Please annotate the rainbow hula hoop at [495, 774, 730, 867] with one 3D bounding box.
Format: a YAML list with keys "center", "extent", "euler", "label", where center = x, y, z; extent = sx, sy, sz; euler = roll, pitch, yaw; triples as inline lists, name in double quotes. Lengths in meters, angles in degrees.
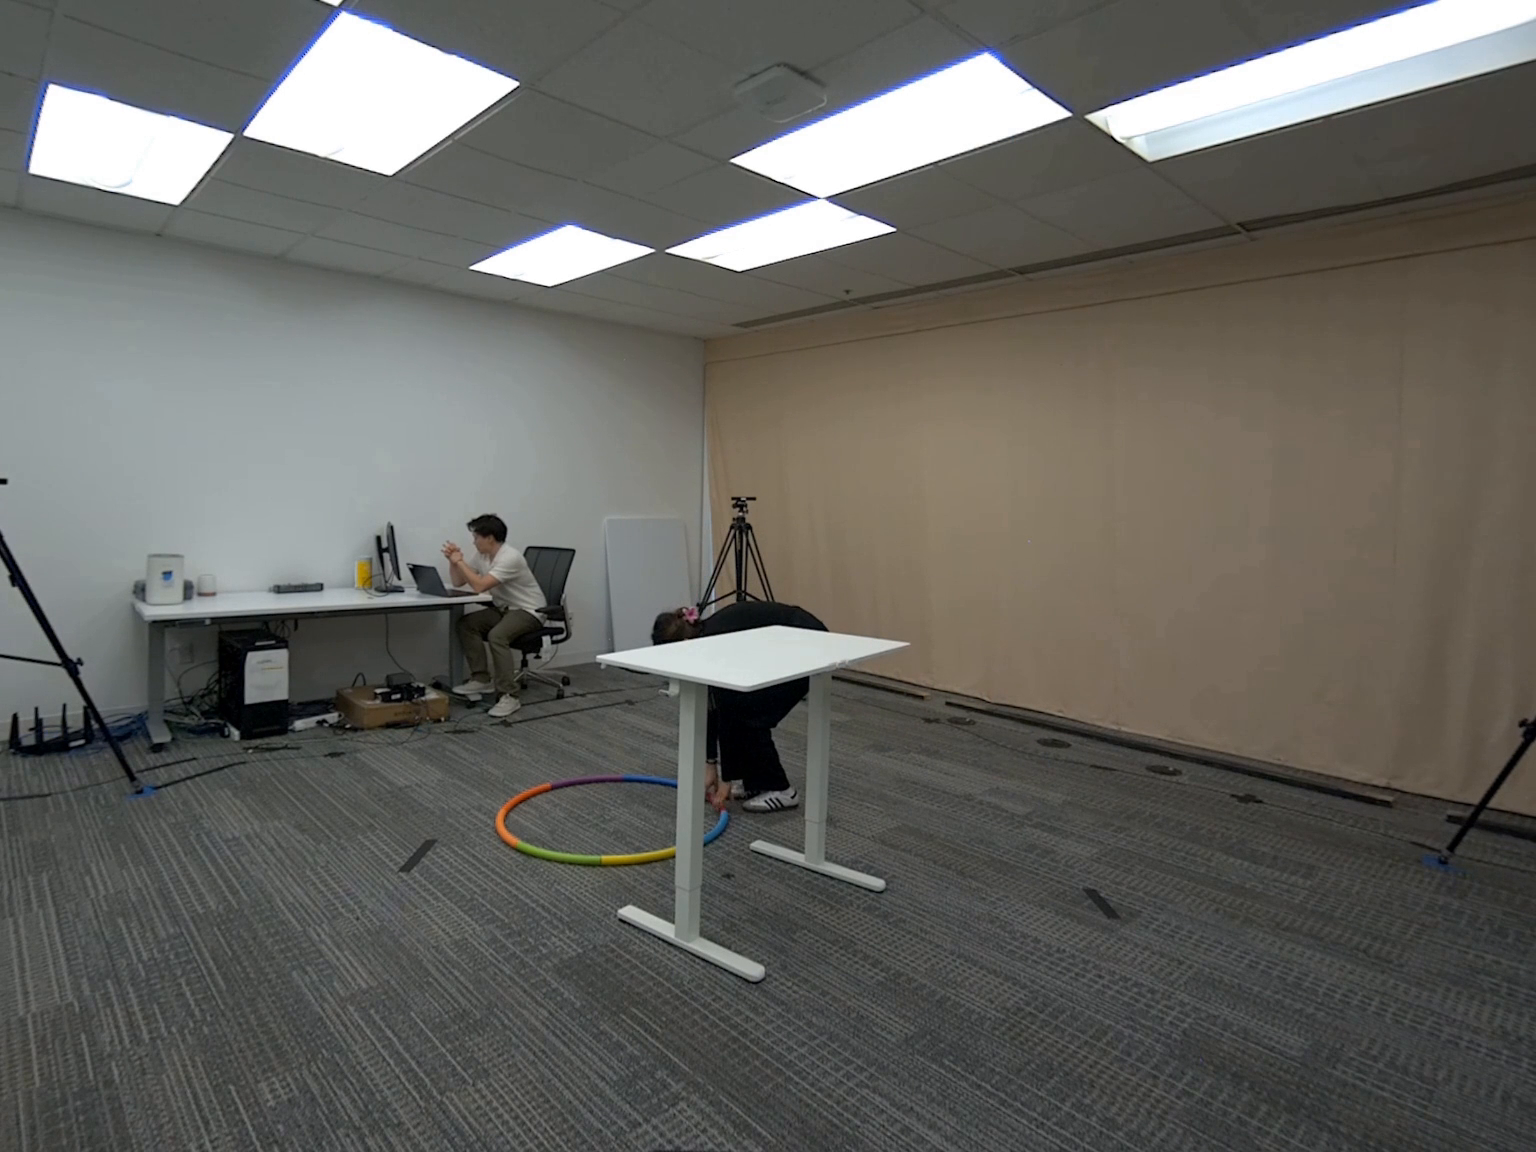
- center: [-0.676, 1.020, 3.639]
  extent: [0.978, 0.035, 0.982]
  euler: [2, 5, -1]
  label: "rainbow hula hoop"
